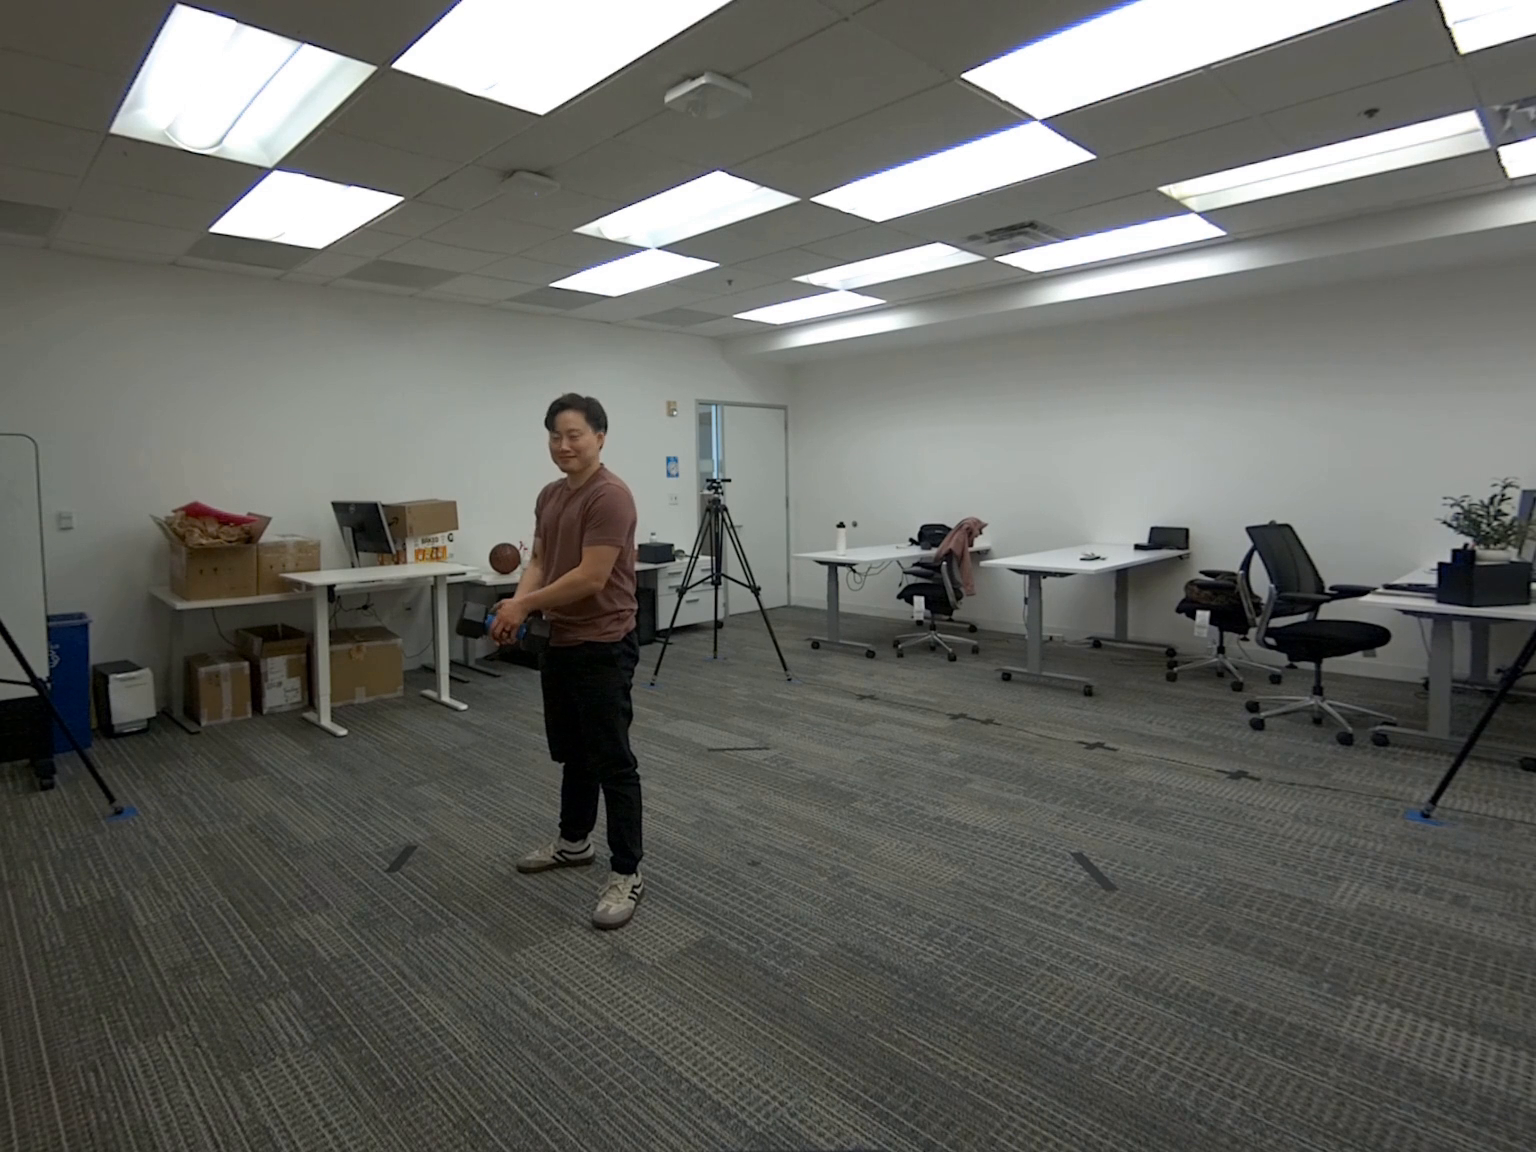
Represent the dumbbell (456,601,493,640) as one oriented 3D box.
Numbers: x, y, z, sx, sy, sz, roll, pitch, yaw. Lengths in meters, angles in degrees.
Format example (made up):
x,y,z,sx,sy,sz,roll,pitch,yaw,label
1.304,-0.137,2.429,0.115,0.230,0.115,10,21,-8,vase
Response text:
x,y,z,sx,sy,sz,roll,pitch,yaw,label
-0.841,0.165,2.738,0.287,0.109,0.125,14,-10,-20,dumbbell
